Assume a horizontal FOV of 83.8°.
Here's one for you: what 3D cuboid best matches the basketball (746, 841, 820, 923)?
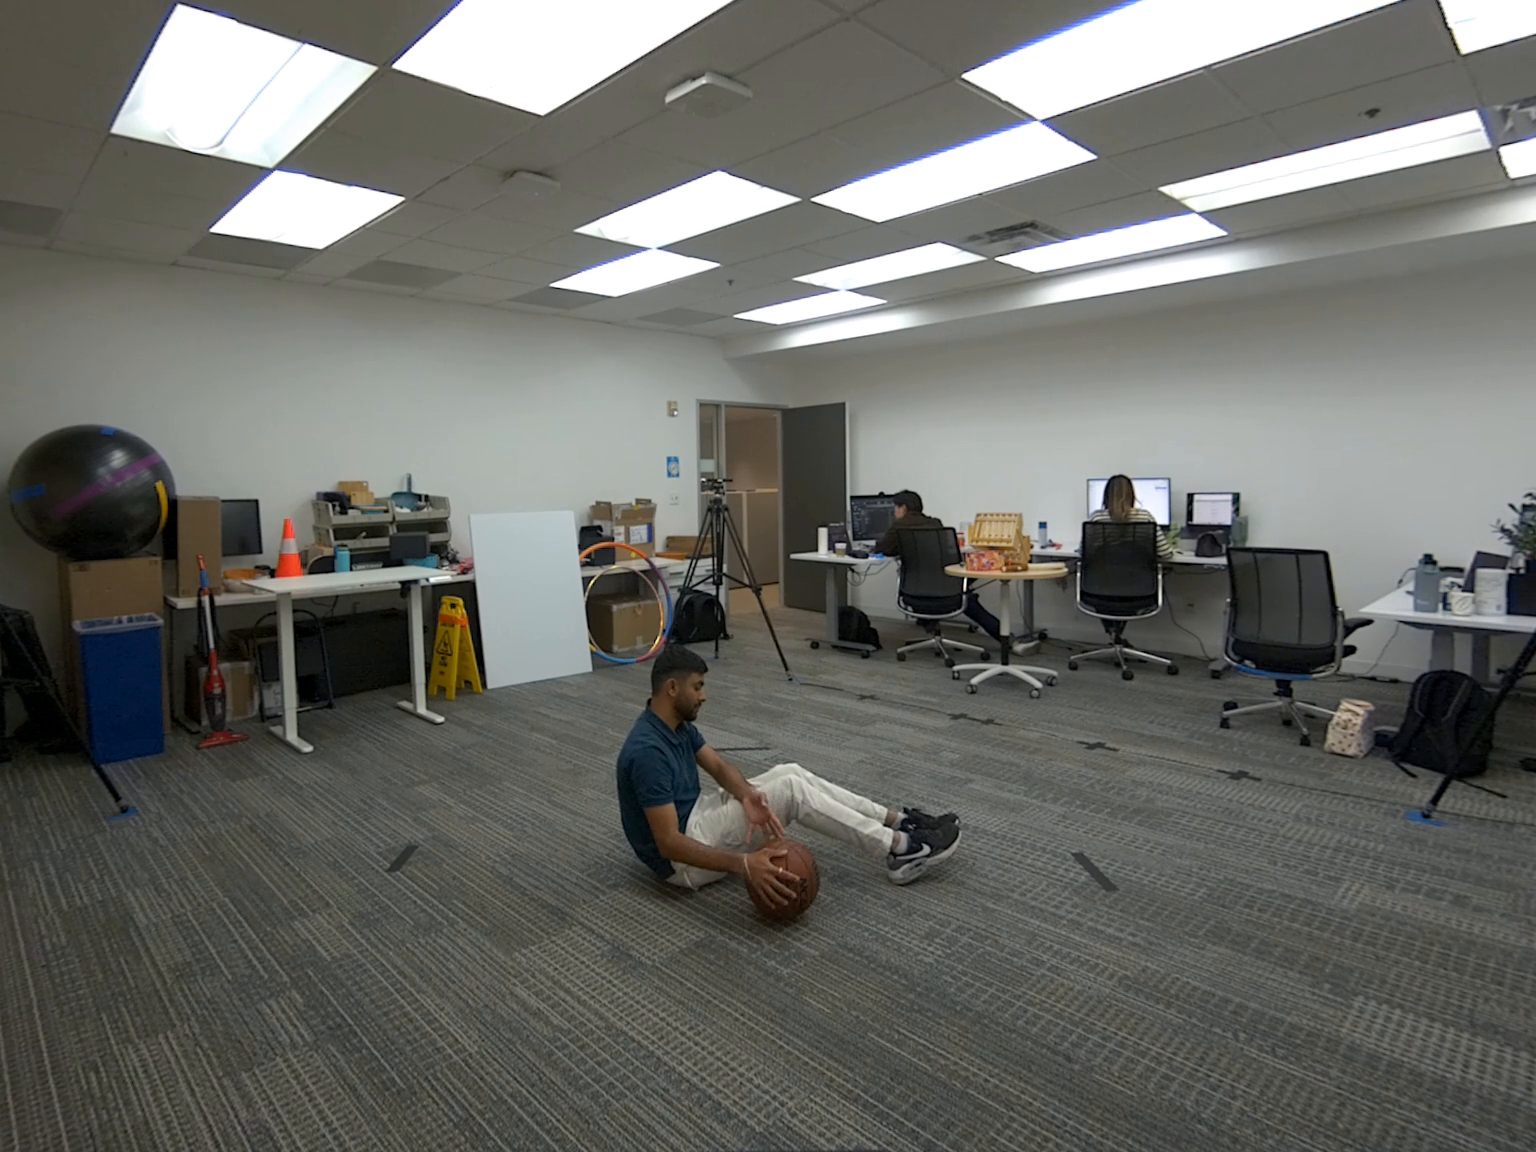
[{"bbox_3d":[0.049,0.932,2.723,0.236,0.235,0.237,-1,5,-2],"label":"basketball"}]
